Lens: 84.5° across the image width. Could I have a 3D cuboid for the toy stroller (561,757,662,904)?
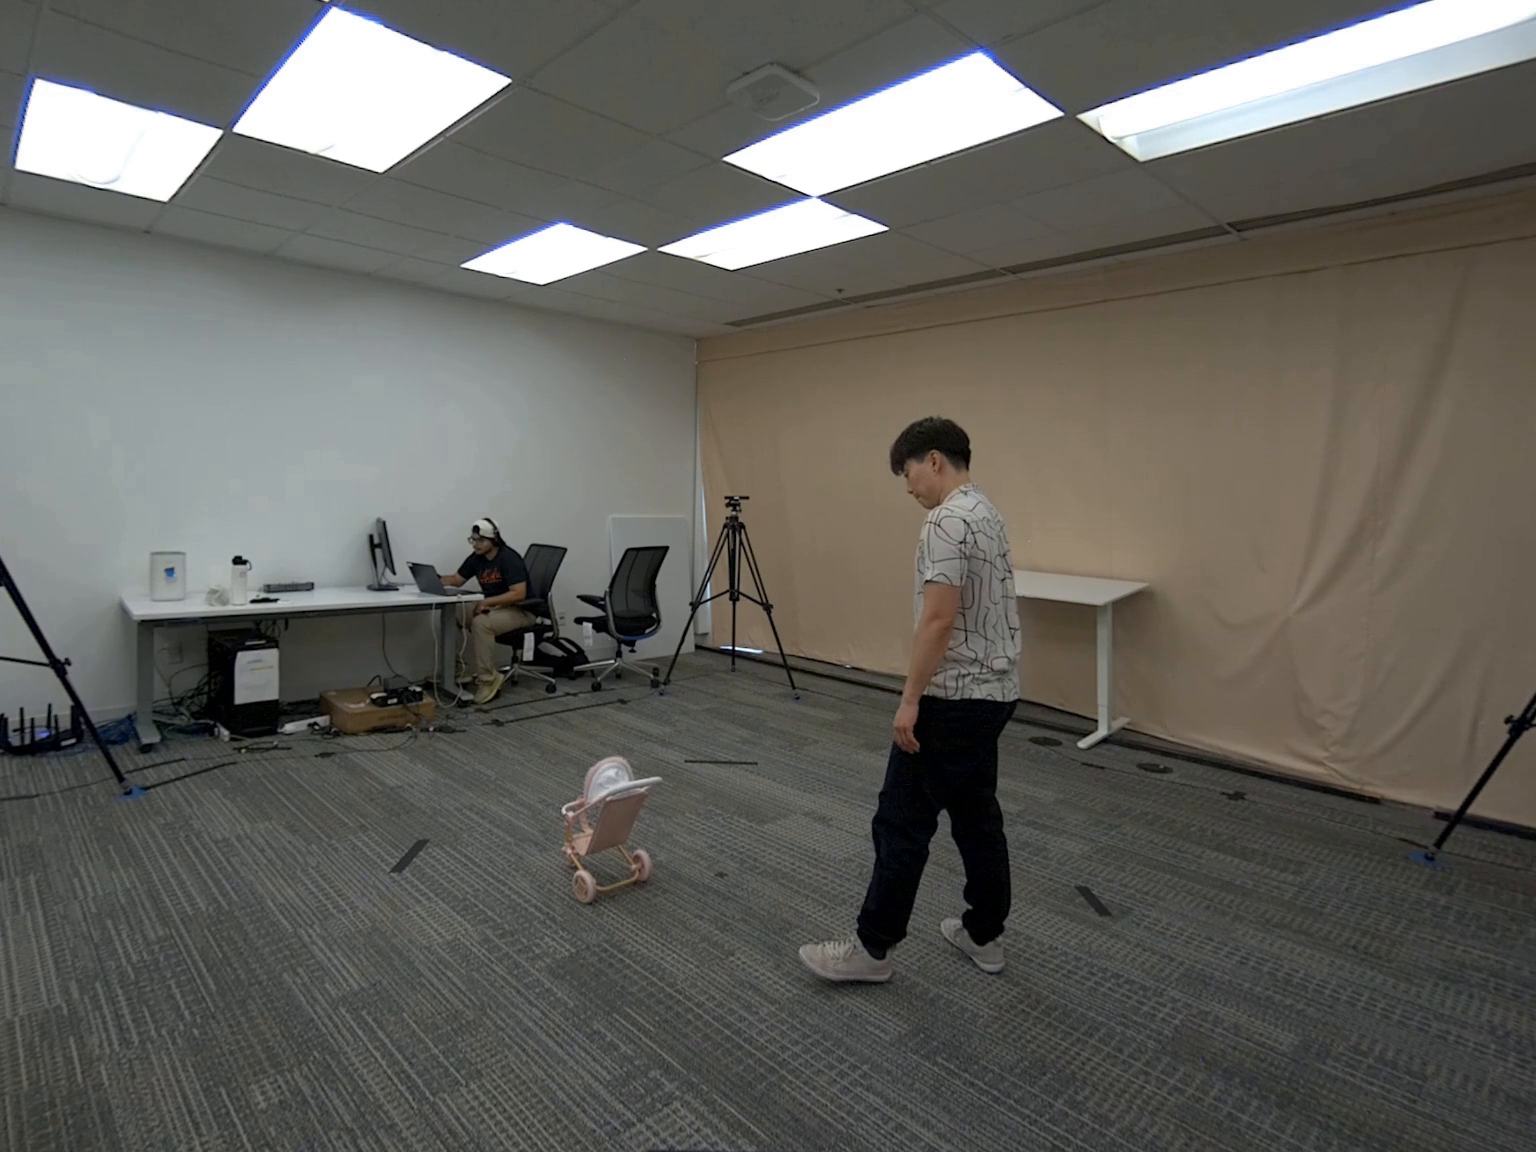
[{"bbox_3d":[-0.587,0.877,2.993,0.275,0.530,0.352,-1,20,-41],"label":"toy stroller"}]
